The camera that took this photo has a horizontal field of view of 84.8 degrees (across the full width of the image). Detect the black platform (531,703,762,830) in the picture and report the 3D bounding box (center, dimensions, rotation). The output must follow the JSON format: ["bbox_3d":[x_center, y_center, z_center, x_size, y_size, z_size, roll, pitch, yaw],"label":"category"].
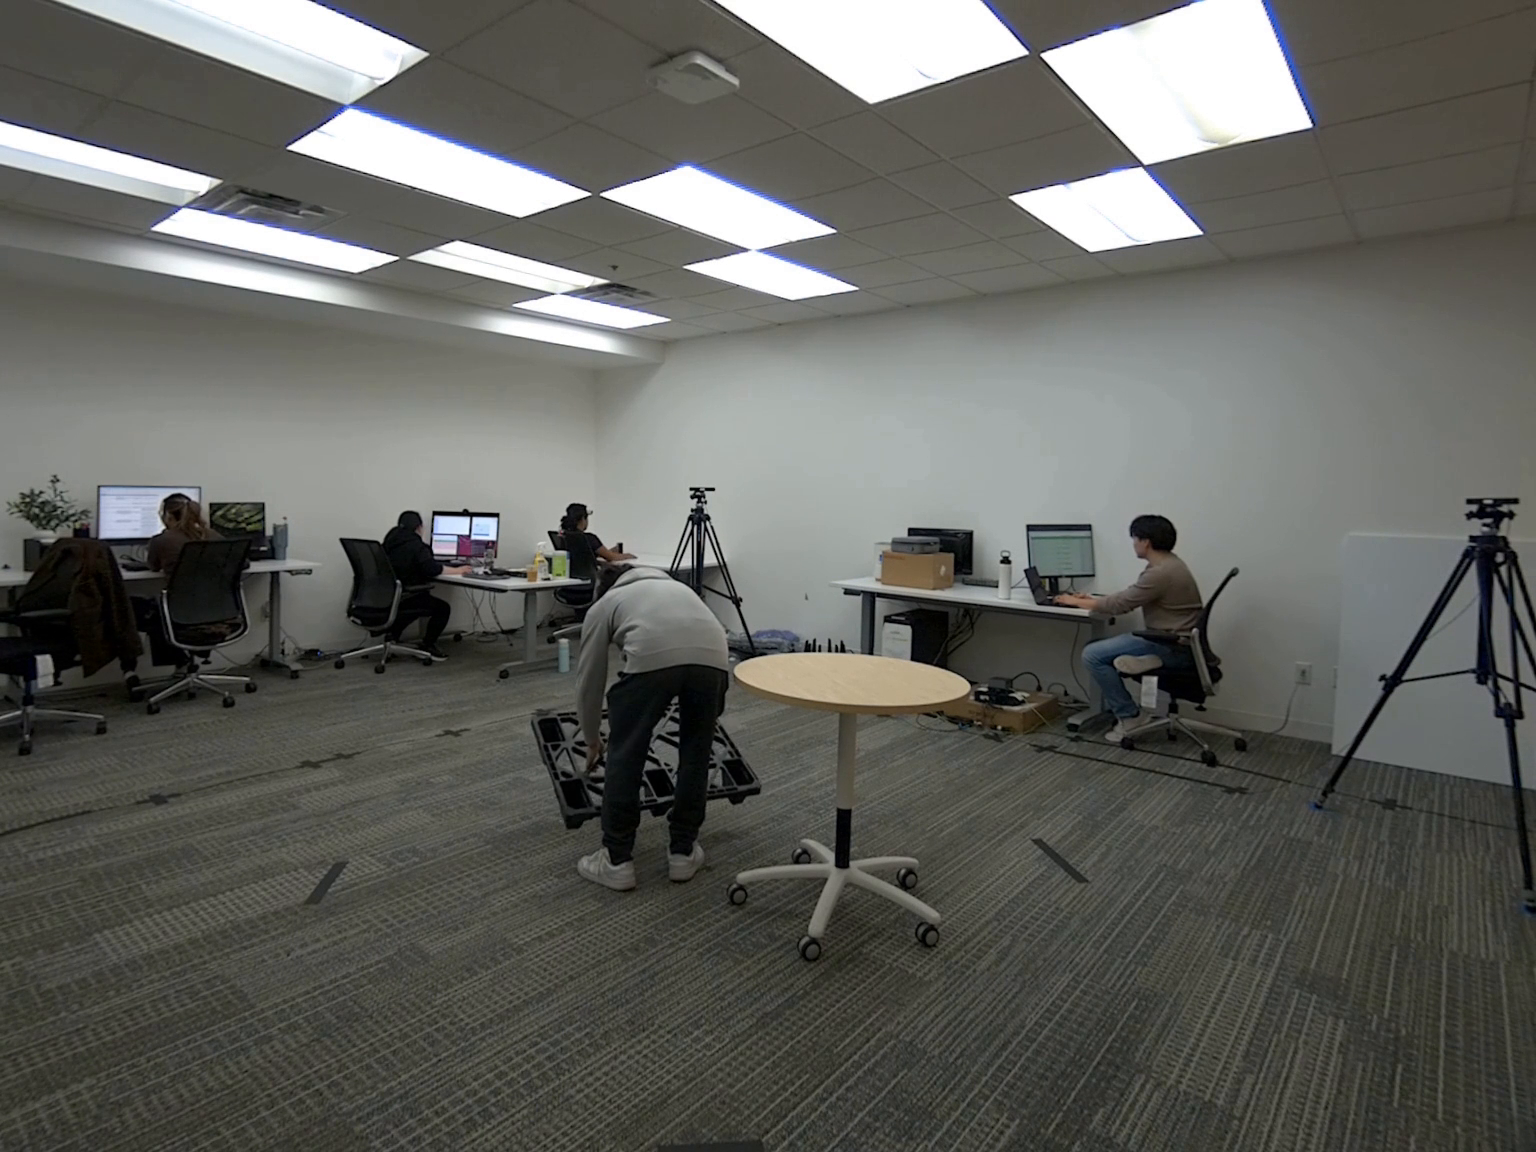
[{"bbox_3d":[-0.520,0.763,3.456,0.786,0.141,0.630,-2,28,-27],"label":"black platform"}]
